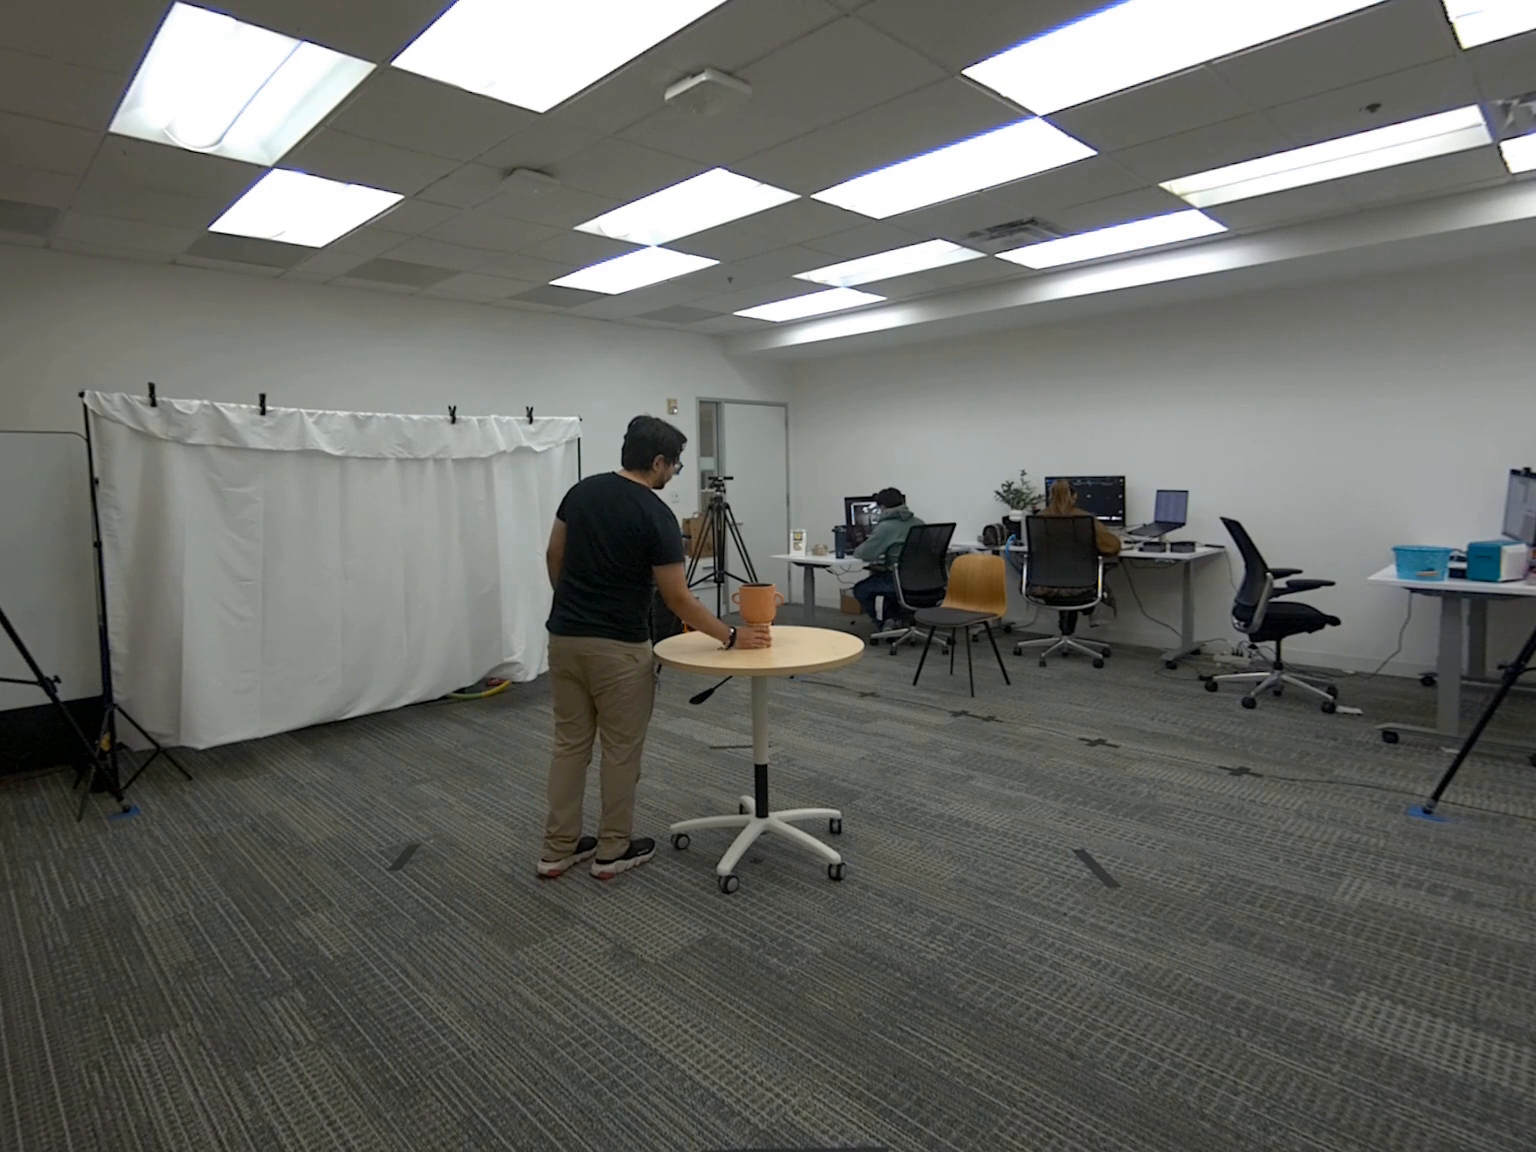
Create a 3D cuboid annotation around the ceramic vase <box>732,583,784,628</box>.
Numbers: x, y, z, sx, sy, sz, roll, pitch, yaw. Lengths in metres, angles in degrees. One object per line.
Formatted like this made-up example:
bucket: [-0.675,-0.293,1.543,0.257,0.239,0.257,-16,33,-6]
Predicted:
ceramic vase: [-0.037,0.139,3.106,0.131,0.219,0.163,-3,5,-33]
